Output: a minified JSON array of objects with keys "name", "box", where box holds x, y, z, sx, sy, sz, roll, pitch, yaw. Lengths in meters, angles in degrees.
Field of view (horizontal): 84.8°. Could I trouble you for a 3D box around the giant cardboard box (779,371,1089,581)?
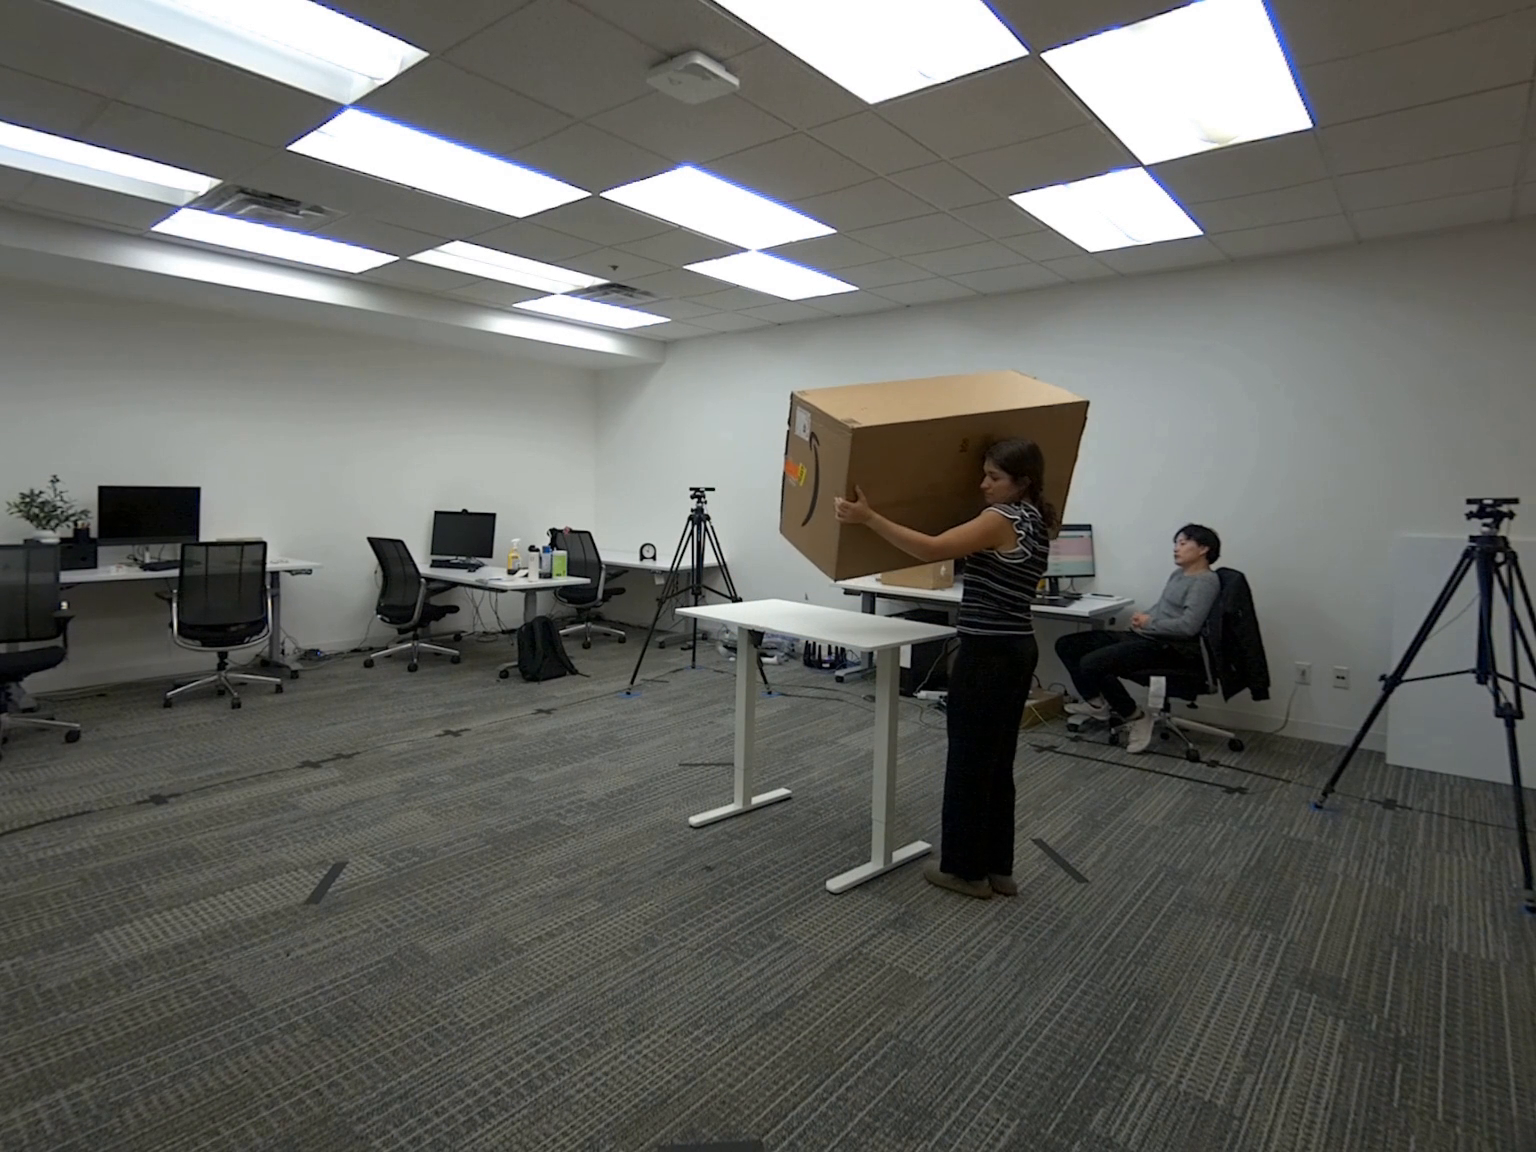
[{"name":"giant cardboard box","box":[0.598,-0.405,3.213,1.007,0.565,0.444,-10,30,-23]}]
